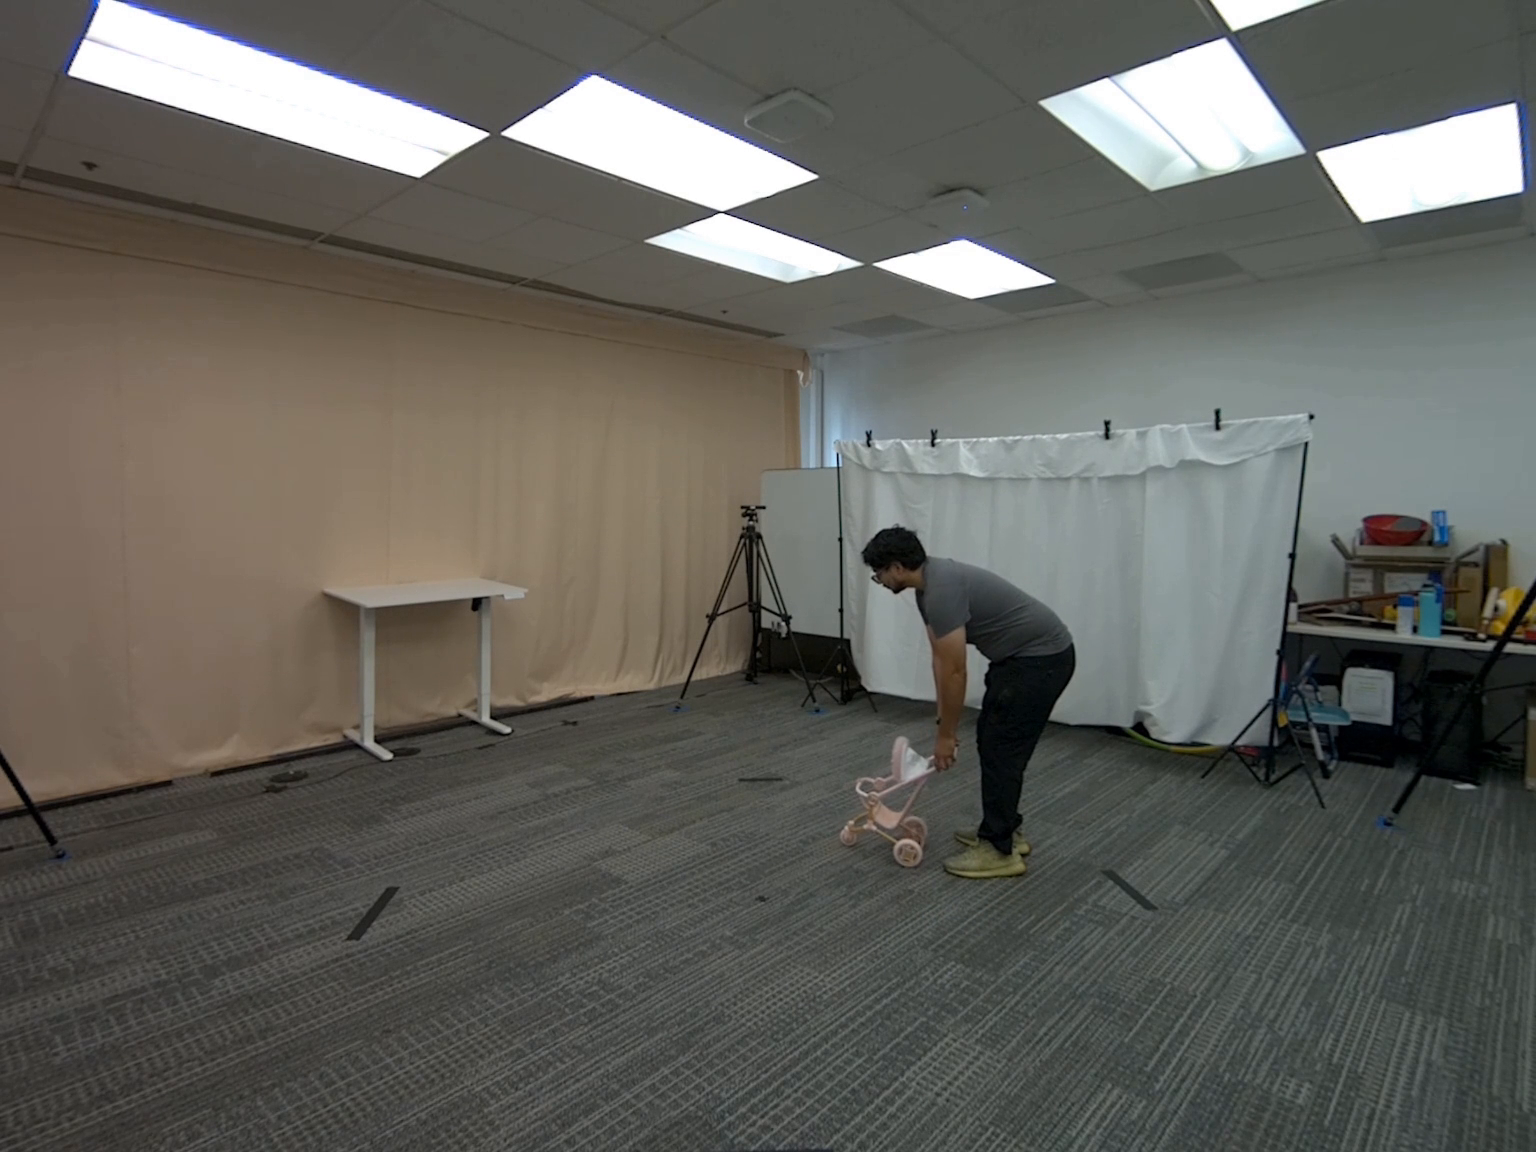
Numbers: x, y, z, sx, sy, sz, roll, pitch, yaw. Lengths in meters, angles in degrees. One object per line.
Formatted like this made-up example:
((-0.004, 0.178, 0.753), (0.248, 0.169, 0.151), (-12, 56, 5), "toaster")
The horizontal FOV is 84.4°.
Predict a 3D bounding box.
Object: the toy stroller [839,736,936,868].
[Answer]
((0.514, 0.887, 3.379), (0.349, 0.533, 0.276), (19, 9, 19), "toy stroller")
